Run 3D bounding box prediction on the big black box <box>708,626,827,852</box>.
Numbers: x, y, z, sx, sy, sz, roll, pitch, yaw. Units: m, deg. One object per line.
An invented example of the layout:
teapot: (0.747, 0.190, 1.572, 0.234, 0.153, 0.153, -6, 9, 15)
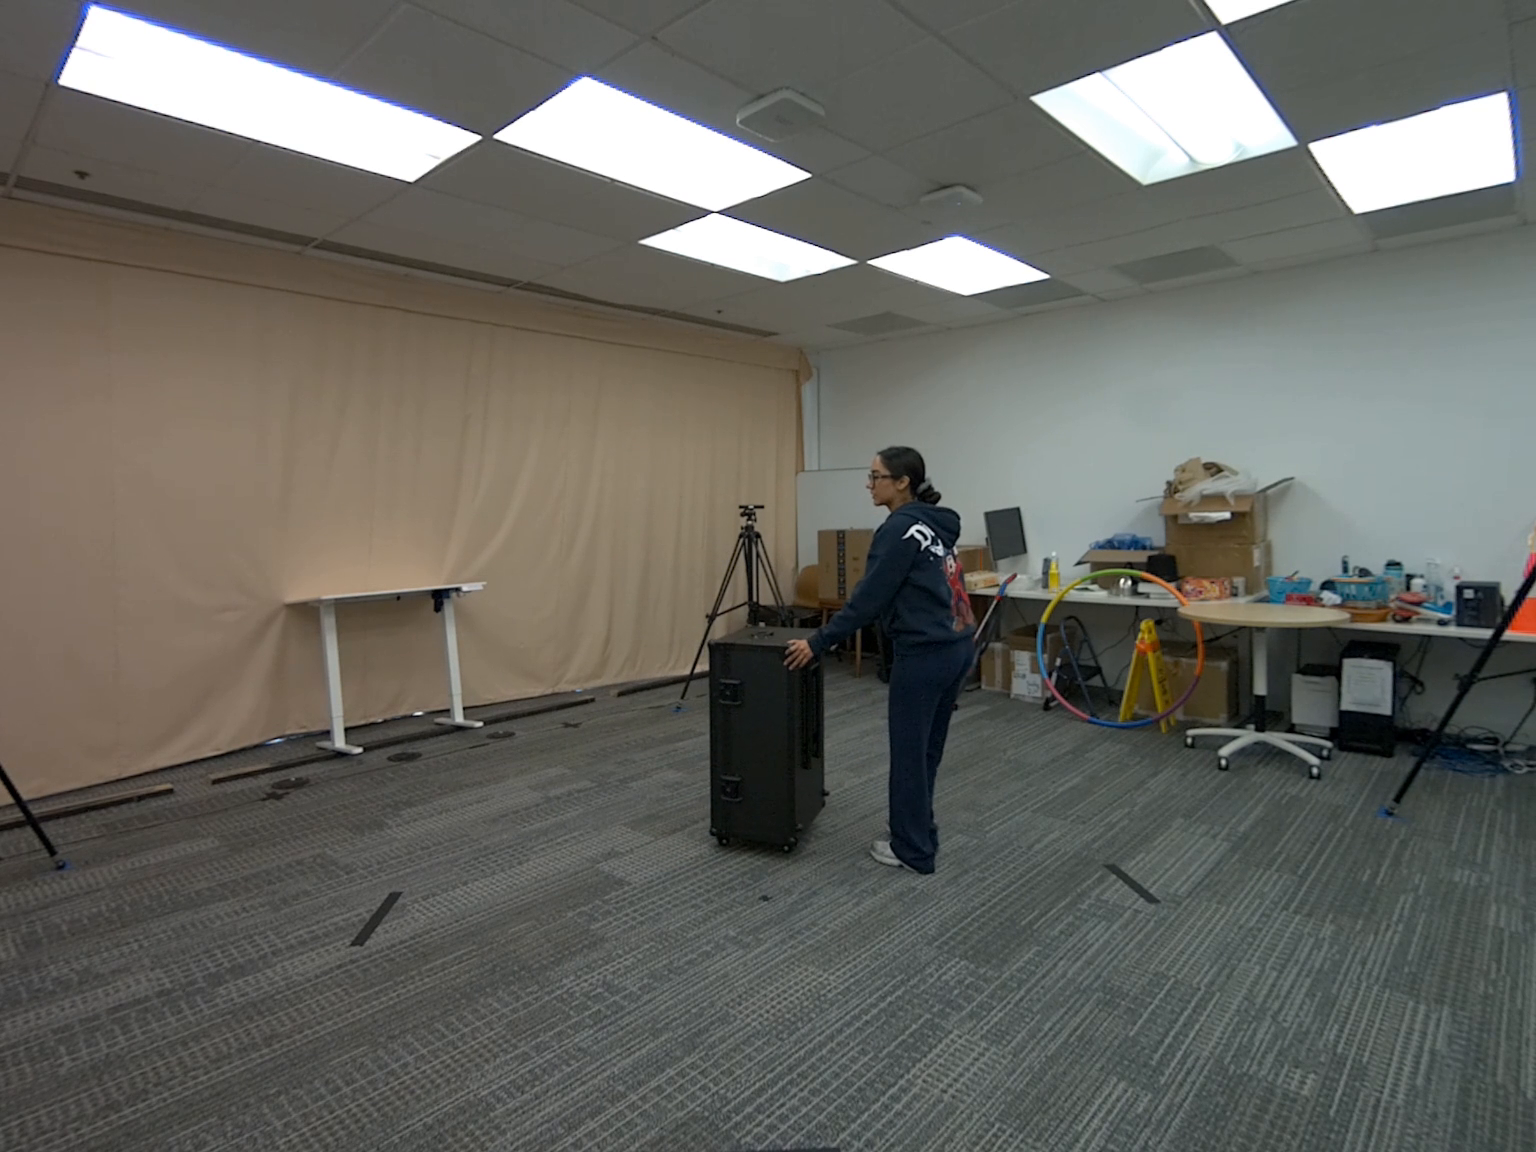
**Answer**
big black box: (0.021, 0.672, 3.523, 0.405, 0.859, 0.511, 3, 4, 19)
